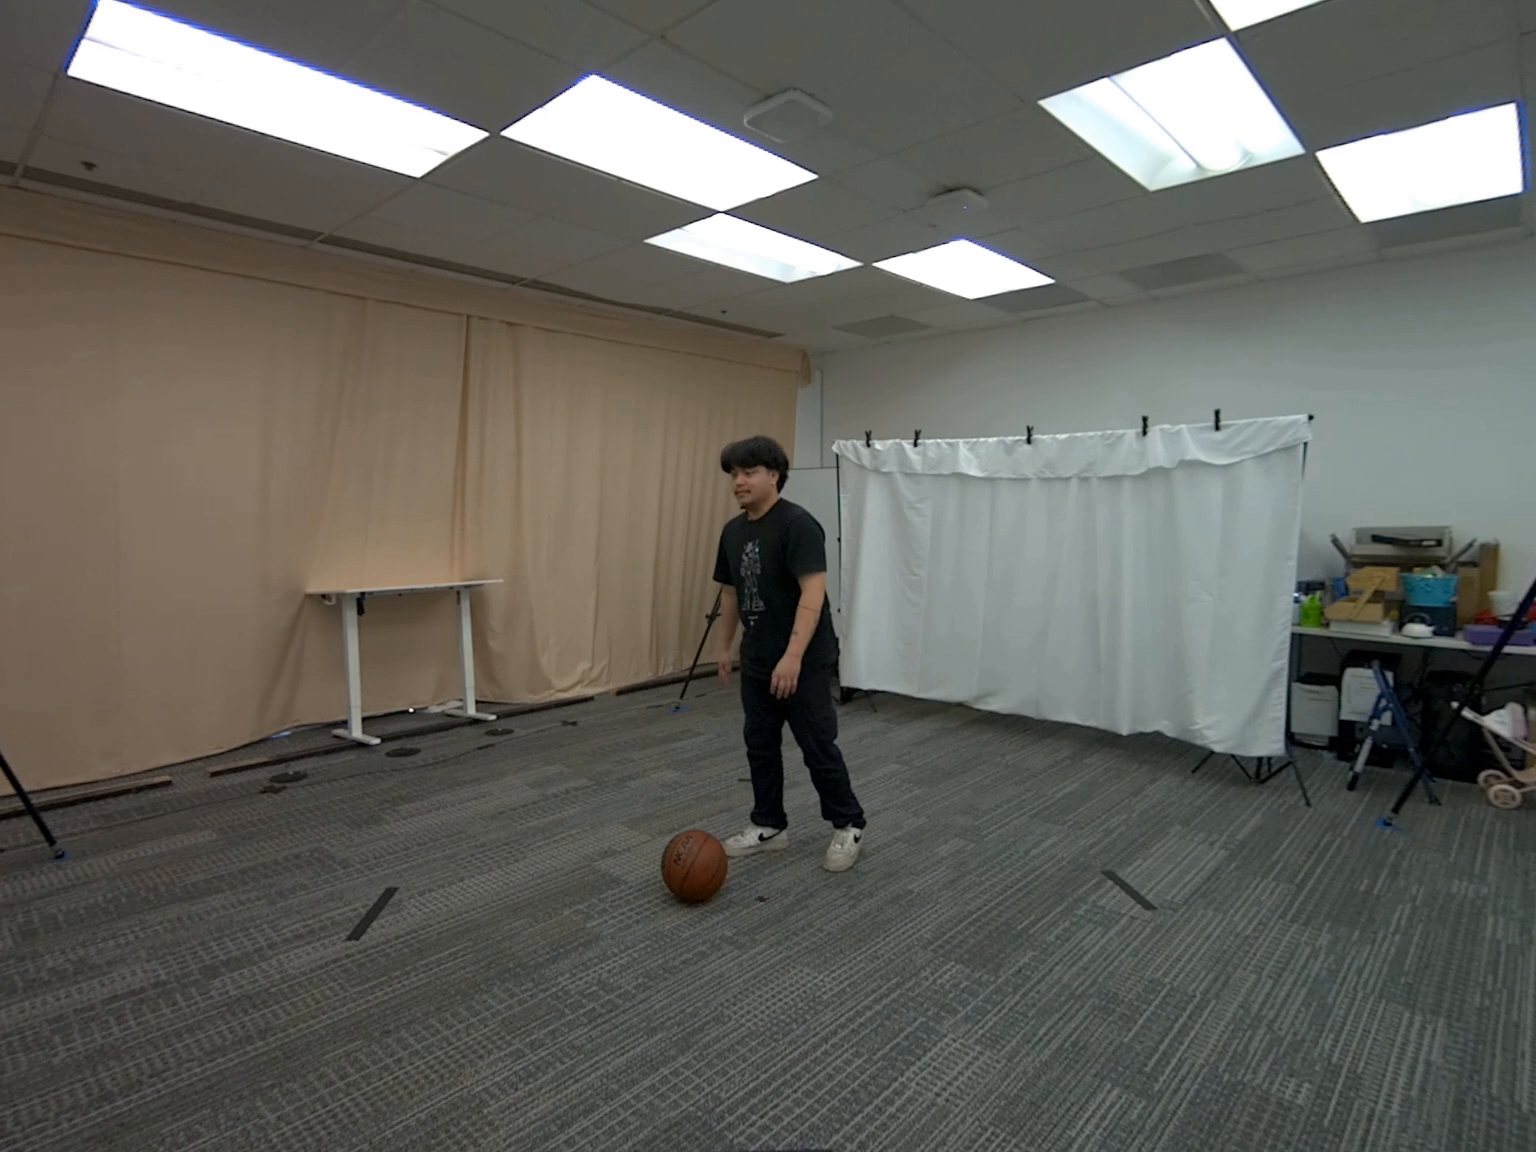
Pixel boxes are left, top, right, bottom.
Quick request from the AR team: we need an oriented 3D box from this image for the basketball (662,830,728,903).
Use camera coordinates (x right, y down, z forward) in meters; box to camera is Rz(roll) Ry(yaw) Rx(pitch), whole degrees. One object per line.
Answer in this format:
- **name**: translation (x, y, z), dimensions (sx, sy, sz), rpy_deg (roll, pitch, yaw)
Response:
- **basketball**: translation (-0.255, 1.022, 2.988), dimensions (0.236, 0.235, 0.237), rpy_deg (0, 4, -2)
